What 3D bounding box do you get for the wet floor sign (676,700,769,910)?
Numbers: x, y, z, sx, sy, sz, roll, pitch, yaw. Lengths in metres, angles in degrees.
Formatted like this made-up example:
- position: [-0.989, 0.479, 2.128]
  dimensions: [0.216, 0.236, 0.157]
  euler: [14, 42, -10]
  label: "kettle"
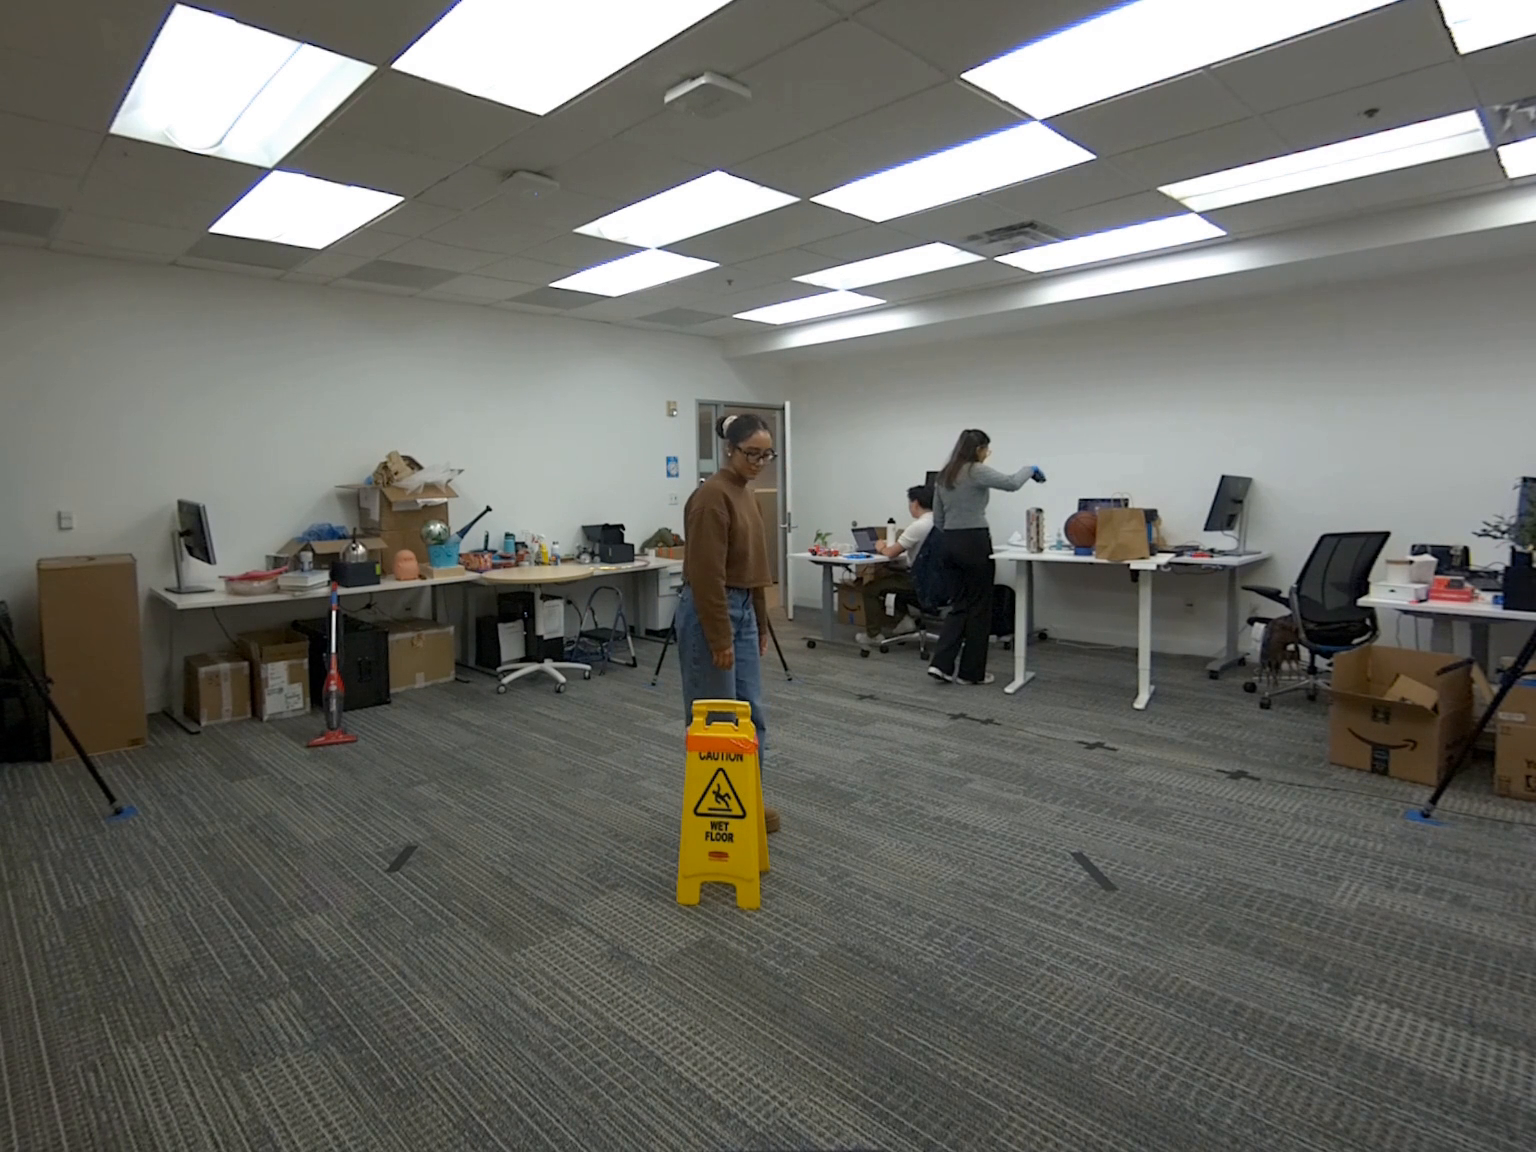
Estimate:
- position: [-0.144, 0.754, 2.911]
  dimensions: [0.285, 0.643, 0.288]
  euler: [-1, 5, 9]
  label: "wet floor sign"
